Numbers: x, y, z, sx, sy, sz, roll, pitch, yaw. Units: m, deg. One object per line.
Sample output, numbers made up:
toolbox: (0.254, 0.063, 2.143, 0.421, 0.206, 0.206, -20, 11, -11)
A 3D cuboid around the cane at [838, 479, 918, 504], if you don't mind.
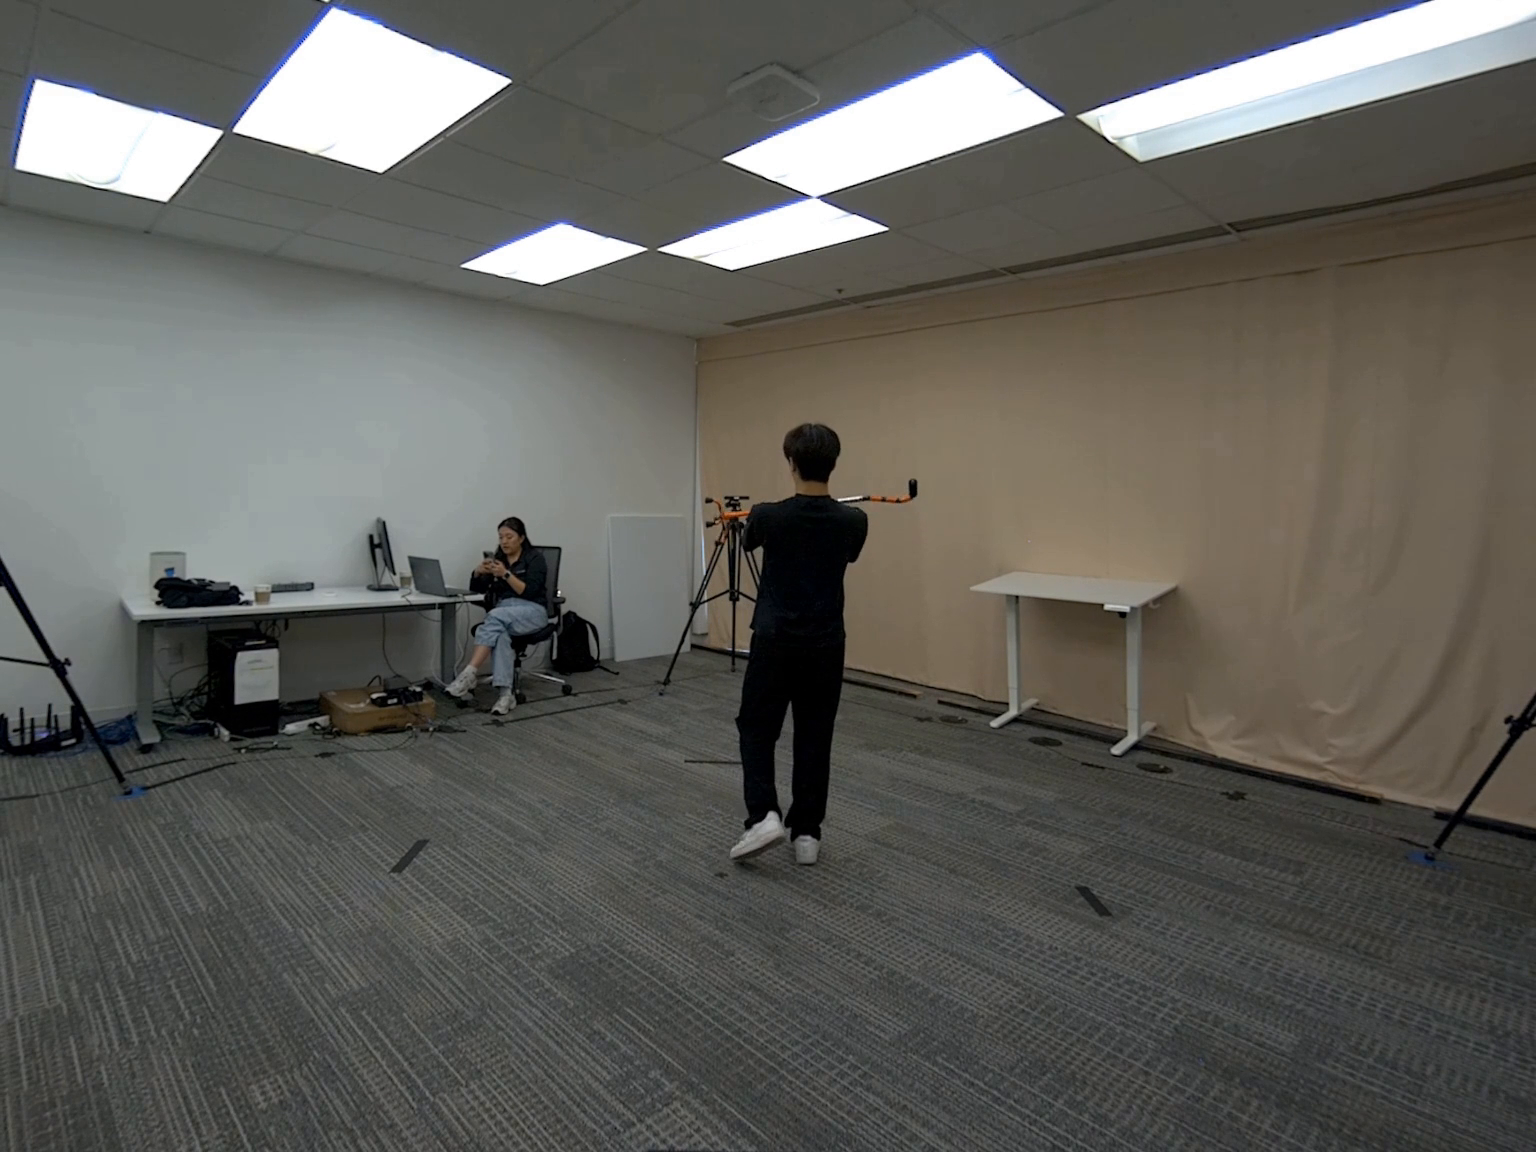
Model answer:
cane: (0.190, -0.292, 3.678, 0.914, 0.154, 0.201, -7, -26, 10)
